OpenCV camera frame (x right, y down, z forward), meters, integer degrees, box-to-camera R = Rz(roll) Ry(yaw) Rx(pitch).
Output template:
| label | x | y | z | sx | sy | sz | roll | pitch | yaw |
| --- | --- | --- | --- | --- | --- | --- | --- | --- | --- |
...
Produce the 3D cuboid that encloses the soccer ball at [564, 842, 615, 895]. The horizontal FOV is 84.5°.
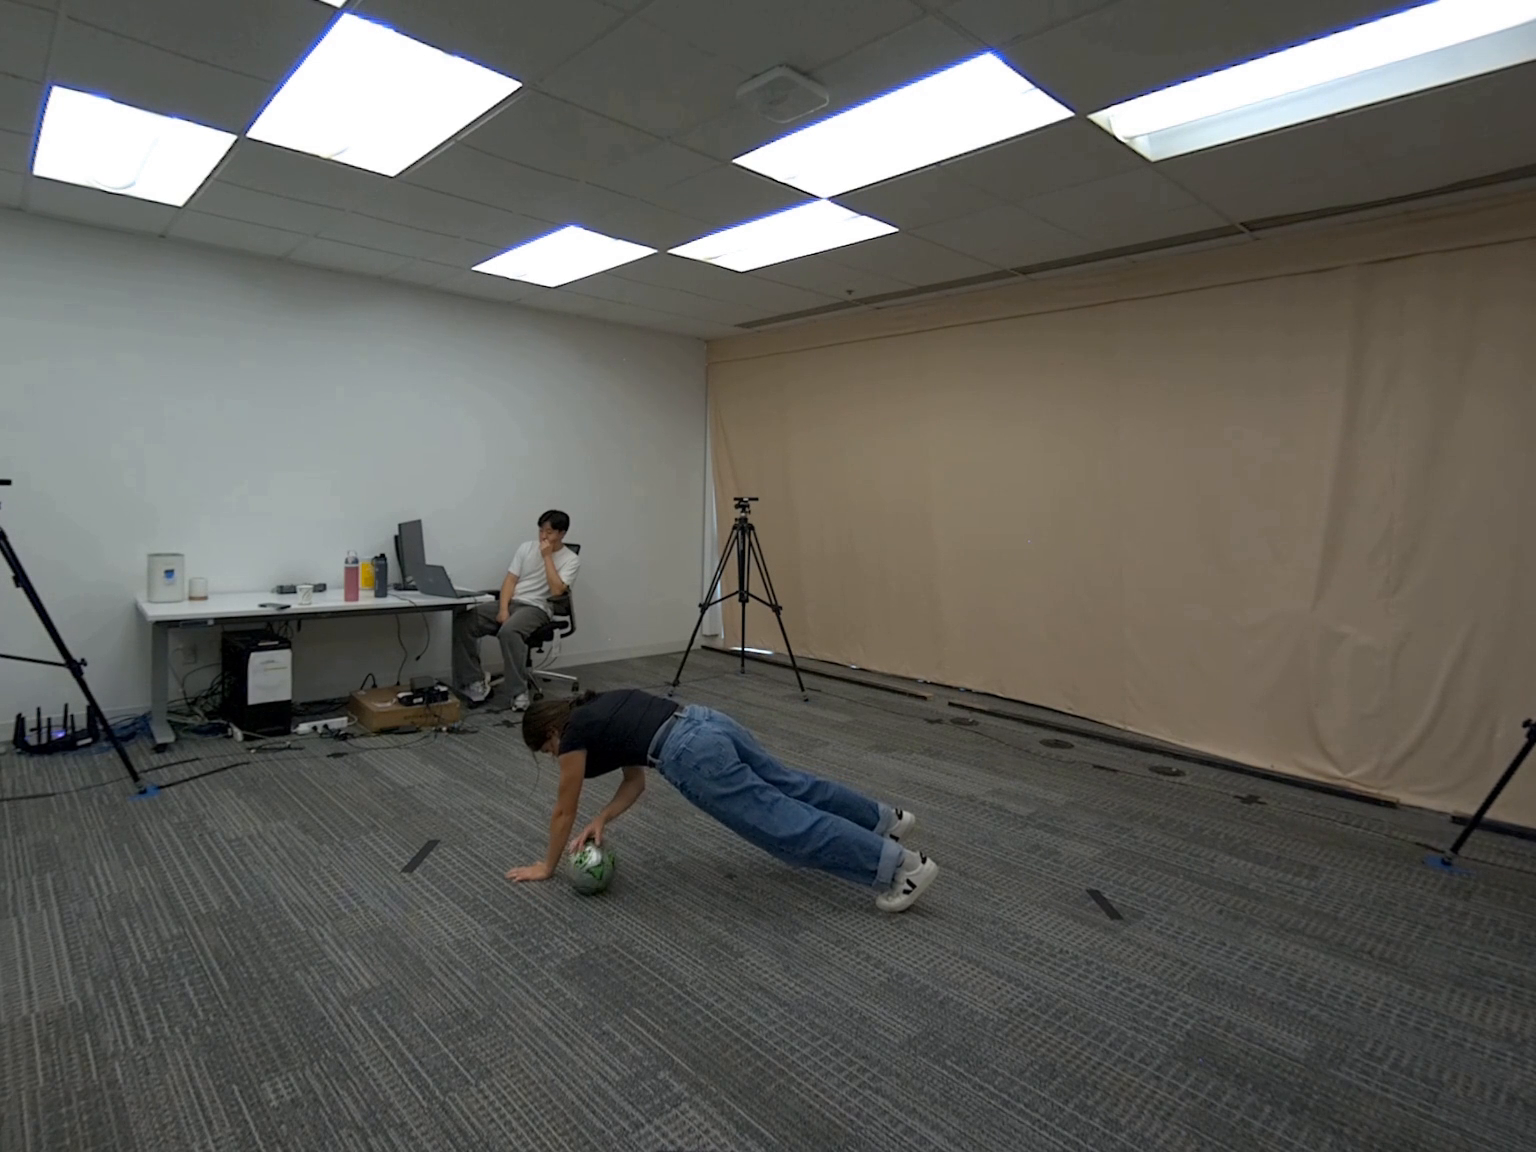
| label | x | y | z | sx | sy | sz | roll | pitch | yaw |
| --- | --- | --- | --- | --- | --- | --- | --- | --- | --- |
| soccer ball | -0.626 | 1.009 | 2.972 | 0.187 | 0.187 | 0.188 | 1 | 4 | -1 |
